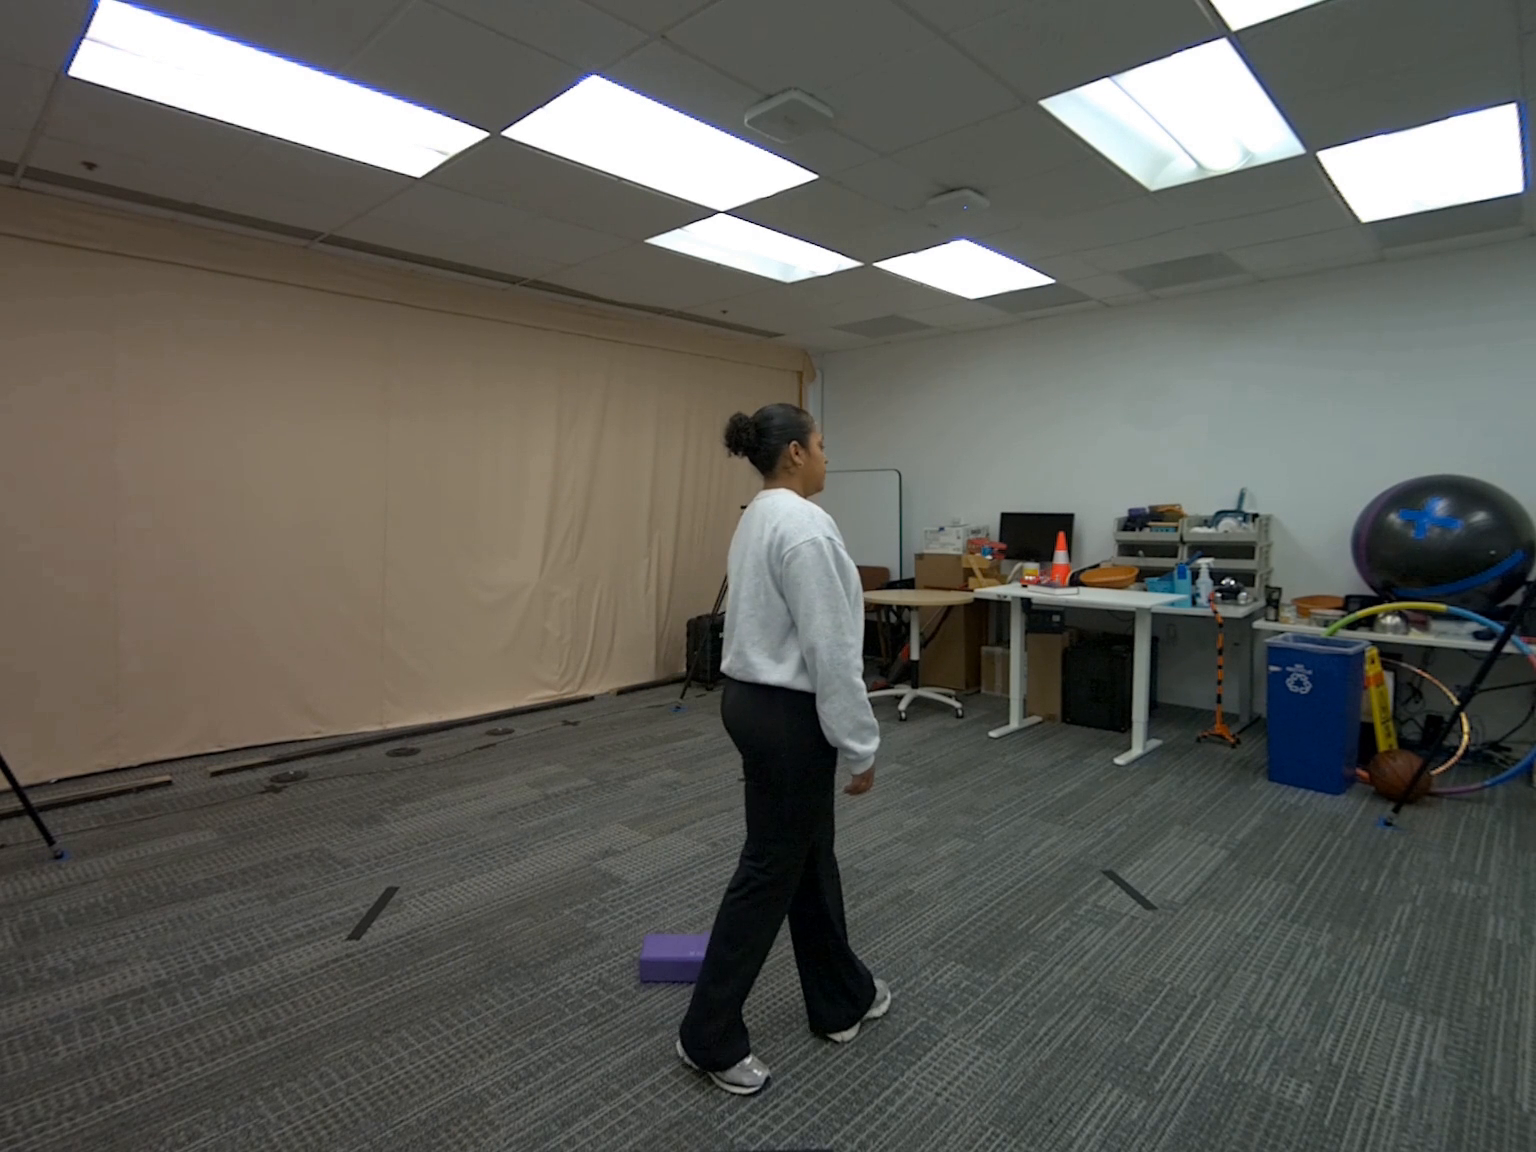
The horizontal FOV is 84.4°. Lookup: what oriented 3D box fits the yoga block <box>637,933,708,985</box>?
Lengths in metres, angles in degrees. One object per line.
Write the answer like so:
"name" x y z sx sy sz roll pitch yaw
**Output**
"yoga block" -0.263 1.142 2.521 0.230 0.076 0.149 0 2 2
